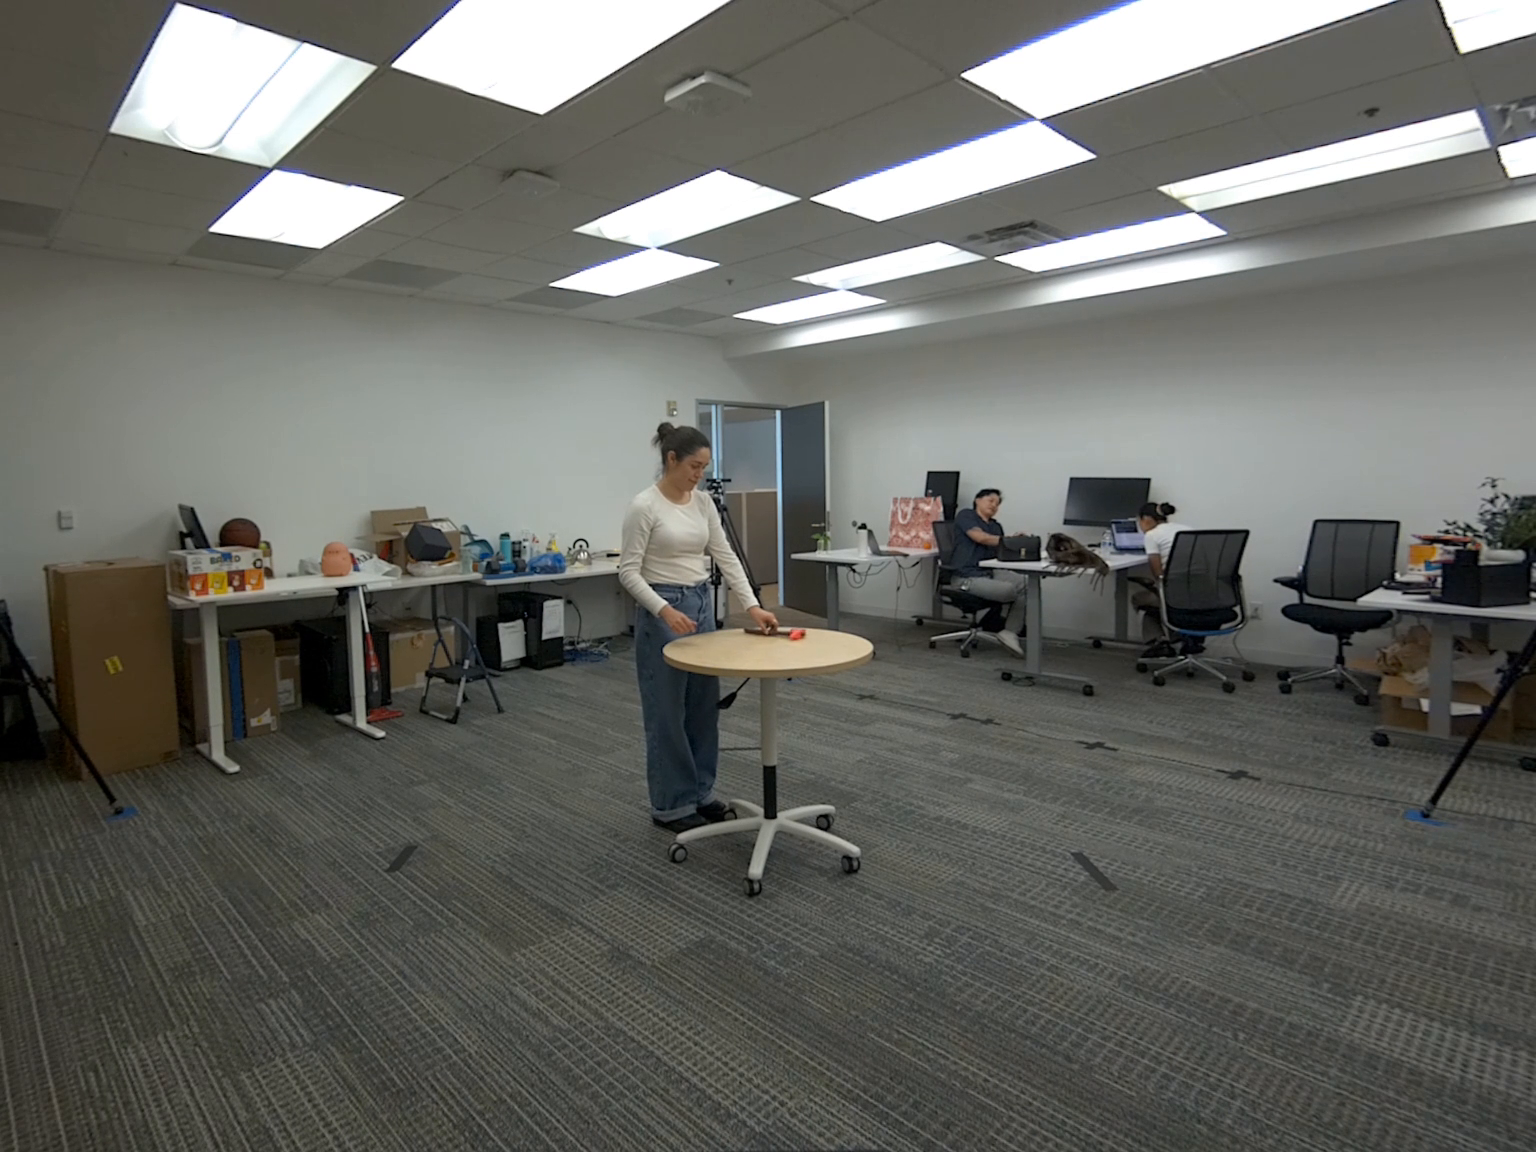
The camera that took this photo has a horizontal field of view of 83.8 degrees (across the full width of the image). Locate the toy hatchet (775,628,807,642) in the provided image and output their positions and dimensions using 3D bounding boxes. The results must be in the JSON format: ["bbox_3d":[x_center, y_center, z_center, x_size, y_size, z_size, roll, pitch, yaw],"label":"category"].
[{"bbox_3d":[0.042,0.220,3.353,0.128,0.029,0.278,-13,11,-42],"label":"toy hatchet"}]
